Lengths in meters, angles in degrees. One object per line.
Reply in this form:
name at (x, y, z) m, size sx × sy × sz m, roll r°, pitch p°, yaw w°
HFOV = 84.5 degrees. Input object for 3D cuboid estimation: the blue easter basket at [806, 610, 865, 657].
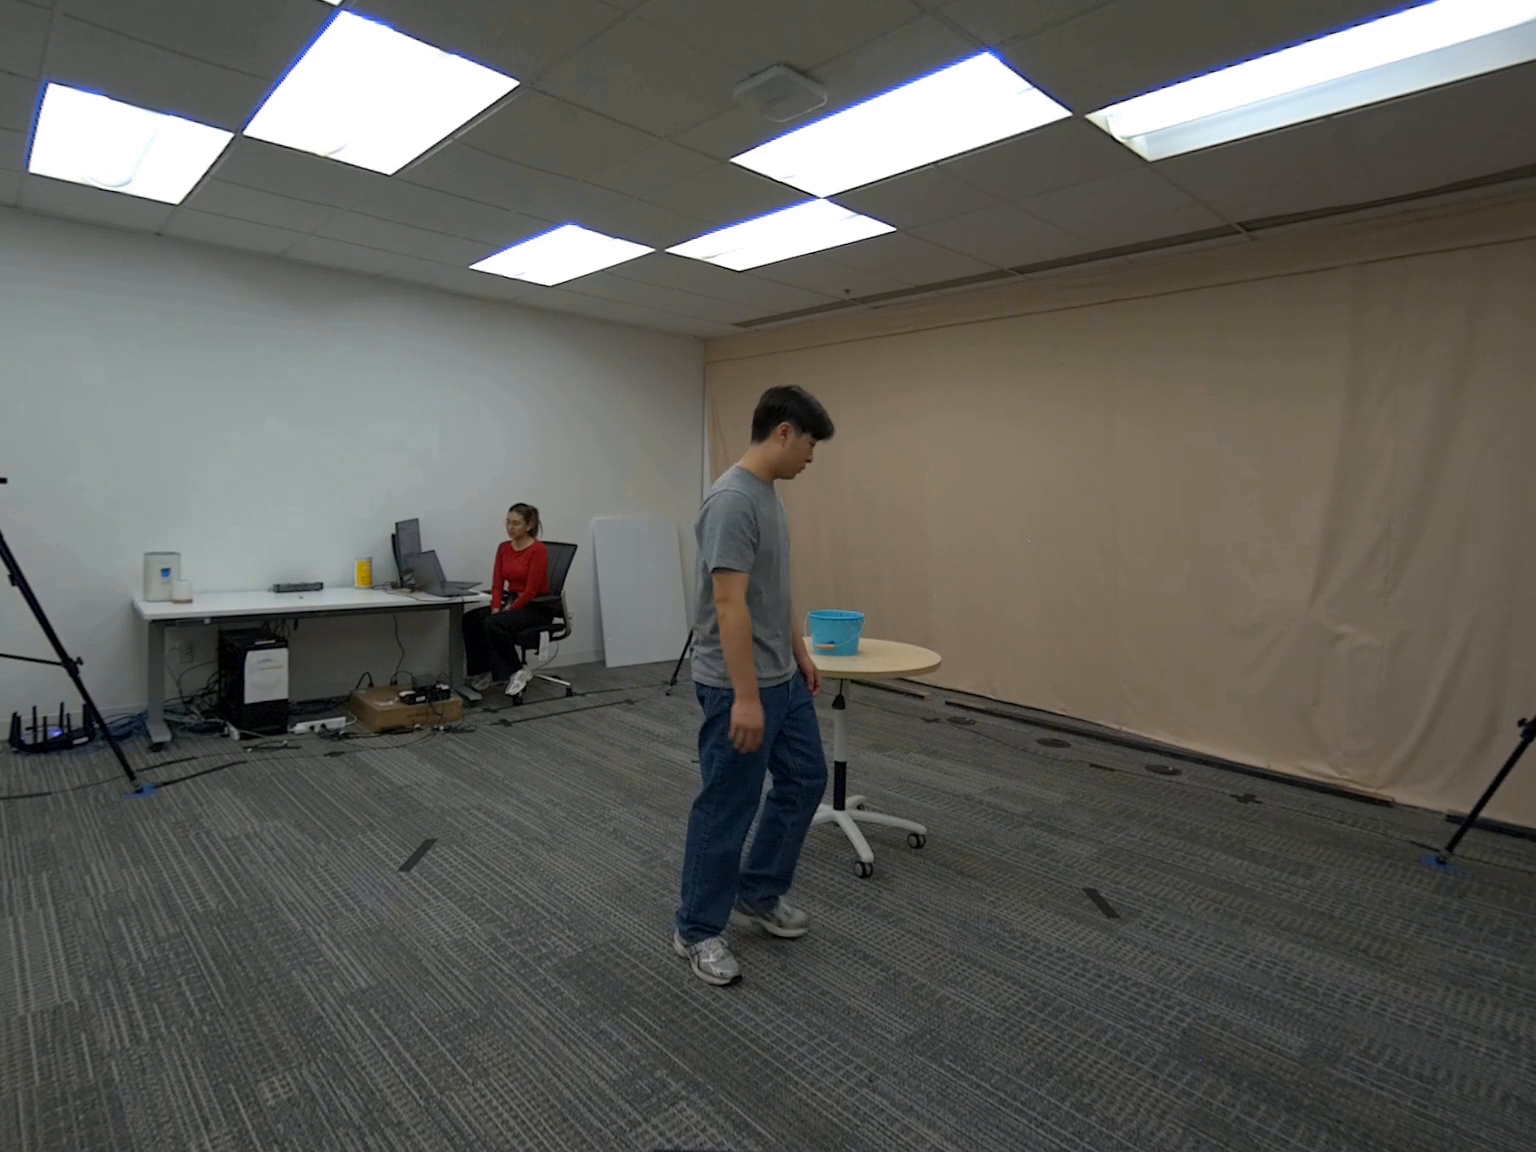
blue easter basket at (0.267, 0.233, 3.409) m, size 0.243 × 0.155 × 0.244 m, roll 2°, pitch 4°, yaw -1°
